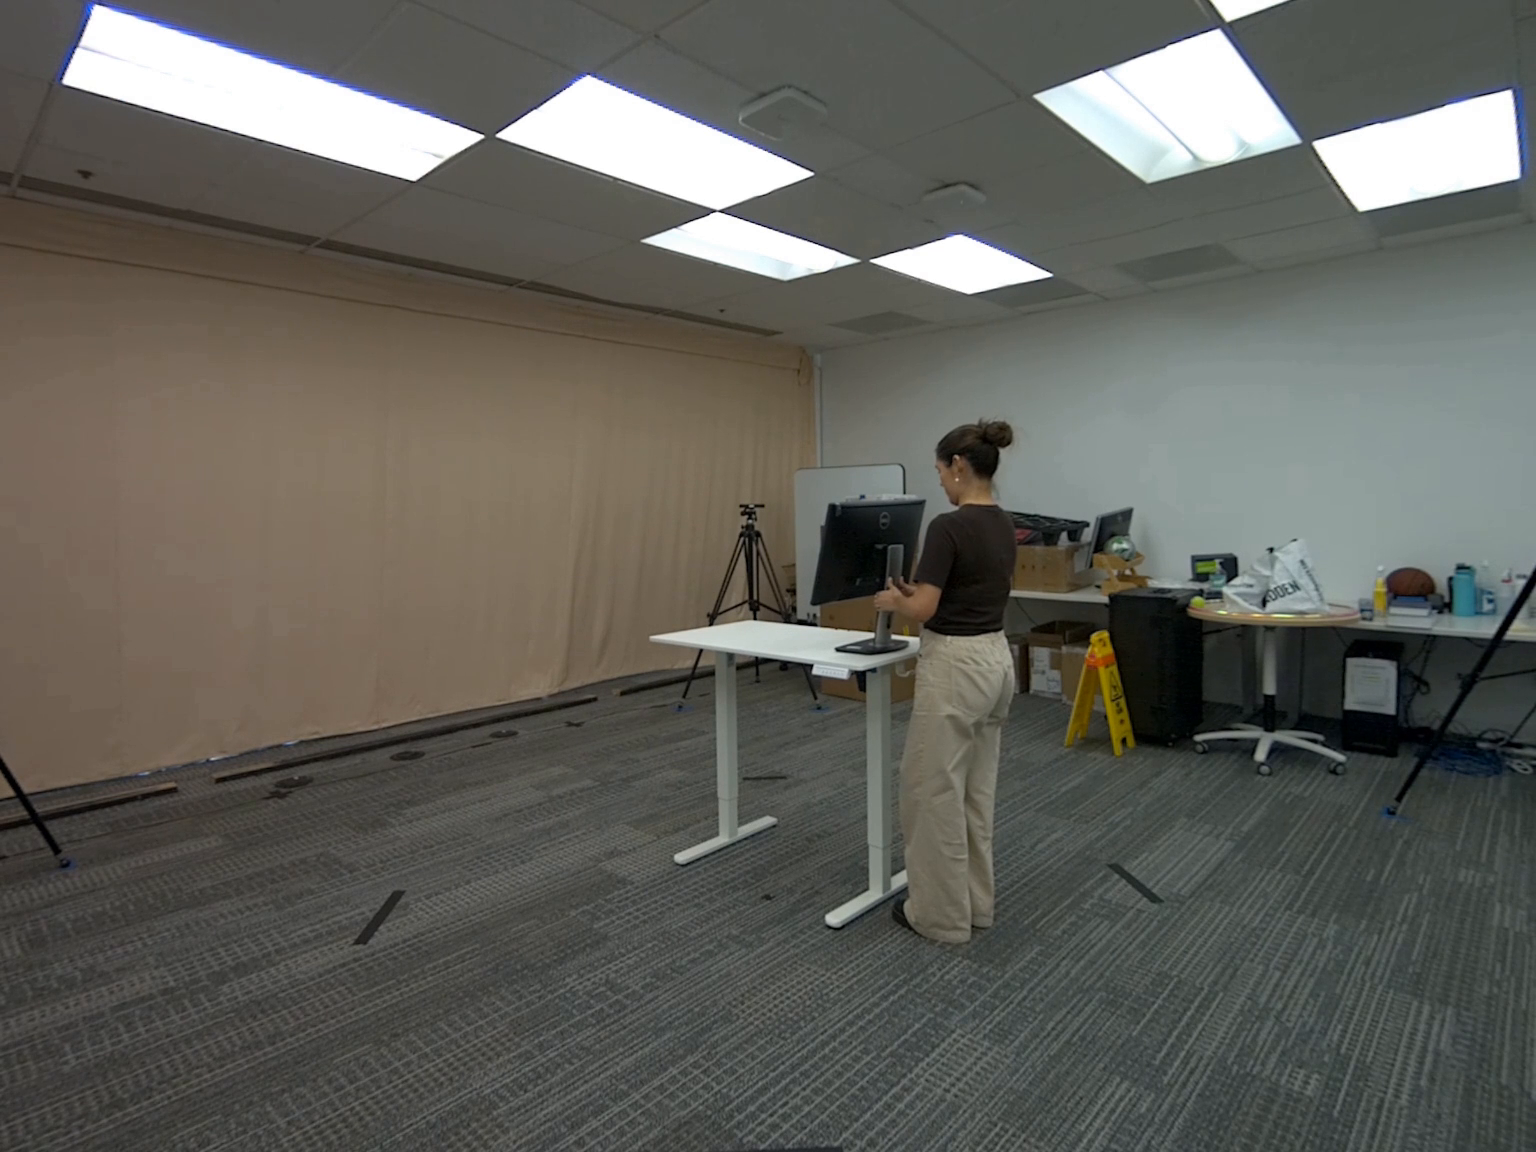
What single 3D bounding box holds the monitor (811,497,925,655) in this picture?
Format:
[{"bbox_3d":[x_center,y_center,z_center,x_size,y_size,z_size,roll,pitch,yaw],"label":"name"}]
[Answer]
[{"bbox_3d":[0.384,0.002,2.918,0.193,0.521,0.523,4,7,43],"label":"monitor"}]
